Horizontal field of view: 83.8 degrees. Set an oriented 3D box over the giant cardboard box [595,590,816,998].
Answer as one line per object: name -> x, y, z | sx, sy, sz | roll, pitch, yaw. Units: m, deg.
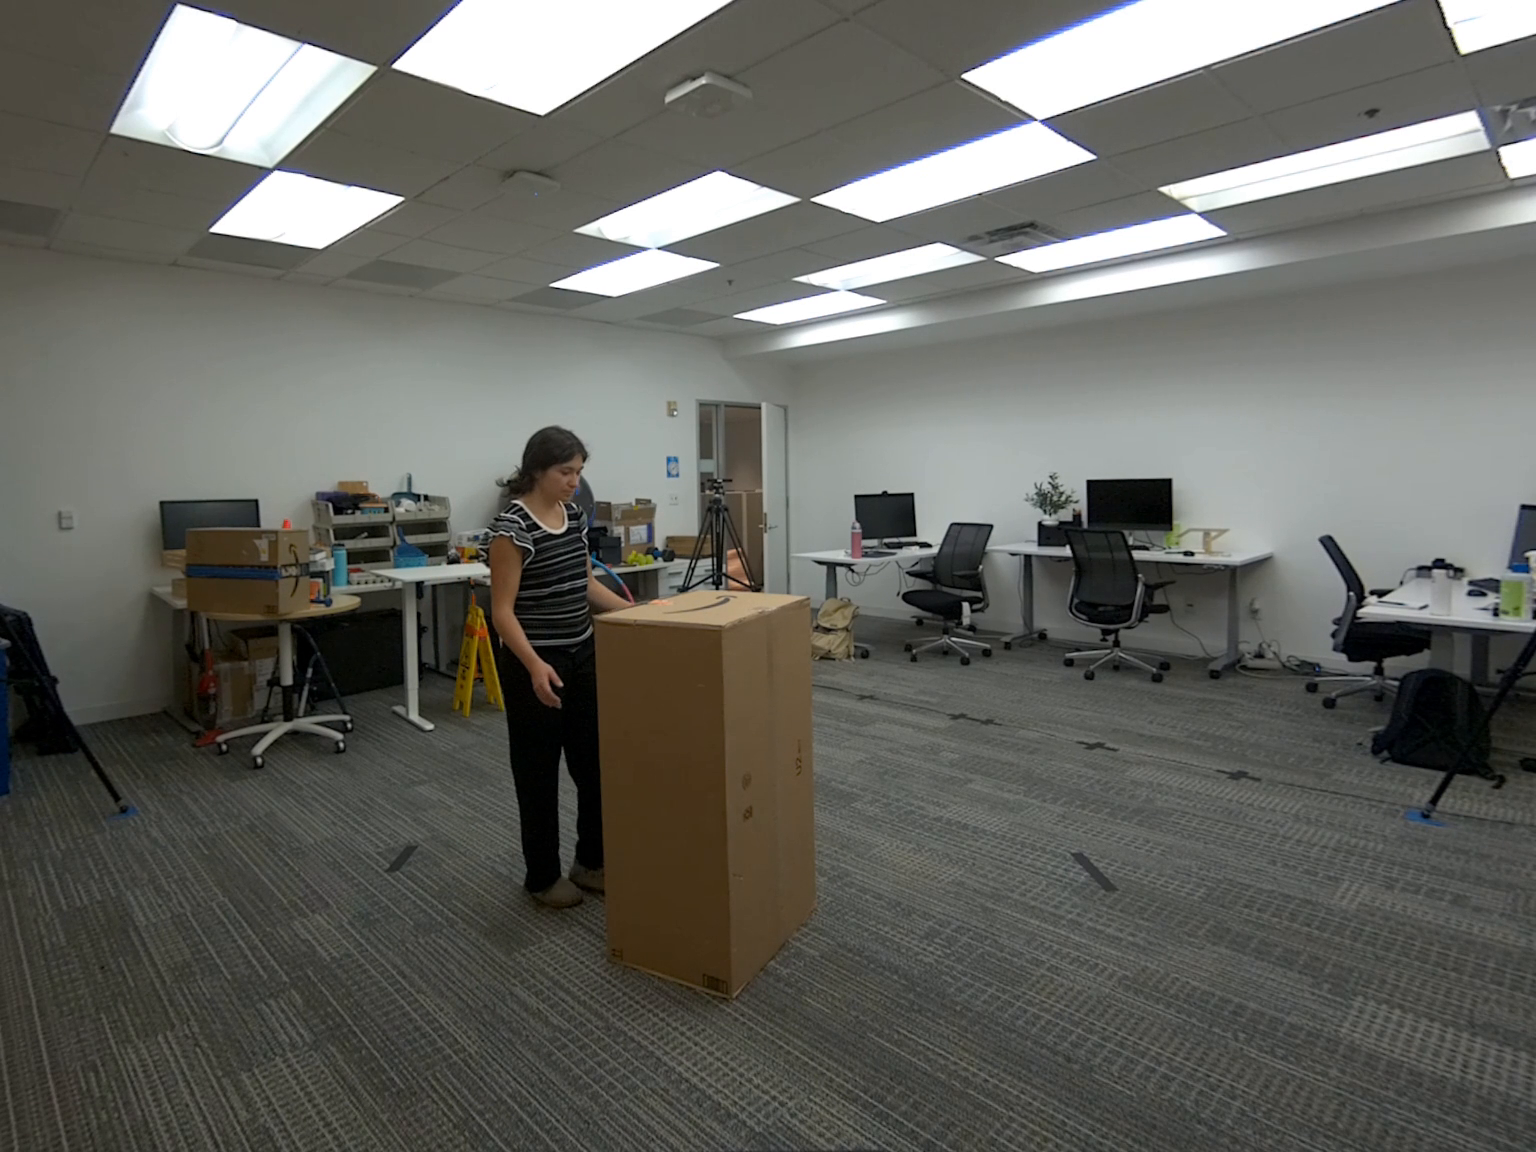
giant cardboard box -> -0.168, 0.599, 2.602 | 0.437, 1.022, 0.565 | 1, 5, 29
